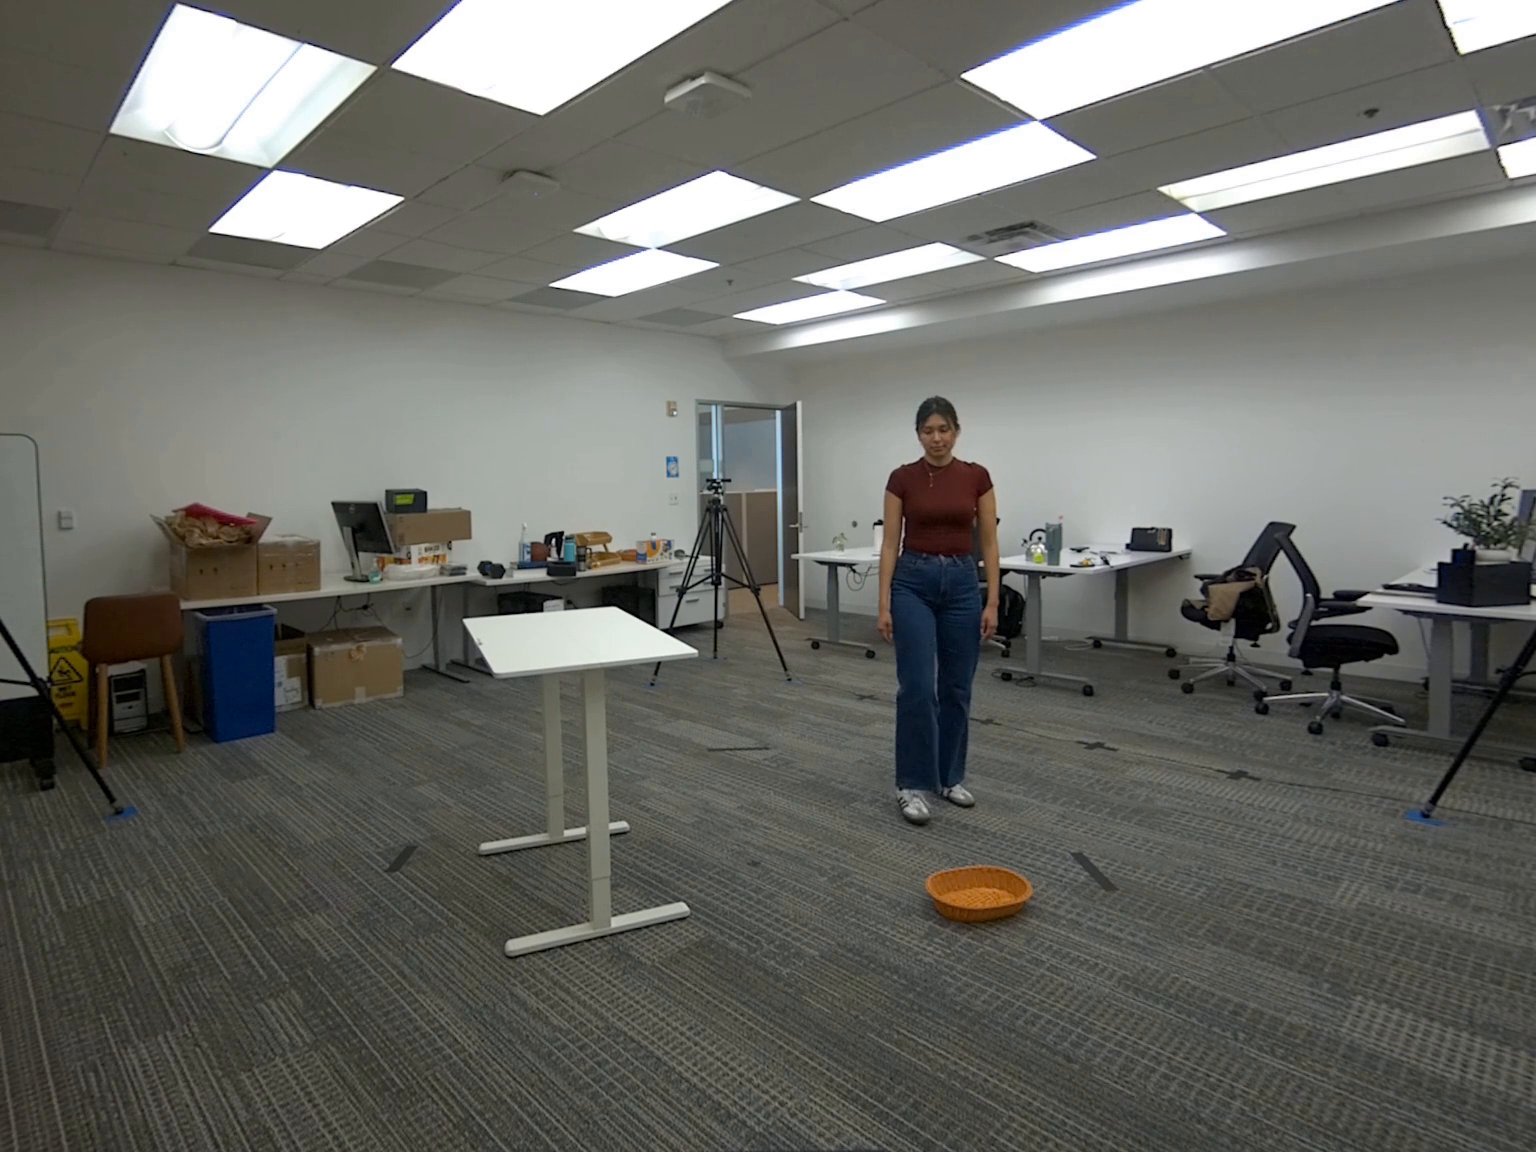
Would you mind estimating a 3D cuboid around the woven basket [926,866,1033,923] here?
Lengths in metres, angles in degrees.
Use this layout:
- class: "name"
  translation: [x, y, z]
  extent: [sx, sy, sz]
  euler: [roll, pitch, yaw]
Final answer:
- class: "woven basket"
  translation: [0.680, 1.032, 2.764]
  extent: [0.345, 0.073, 0.257]
  euler: [-3, 7, -17]
